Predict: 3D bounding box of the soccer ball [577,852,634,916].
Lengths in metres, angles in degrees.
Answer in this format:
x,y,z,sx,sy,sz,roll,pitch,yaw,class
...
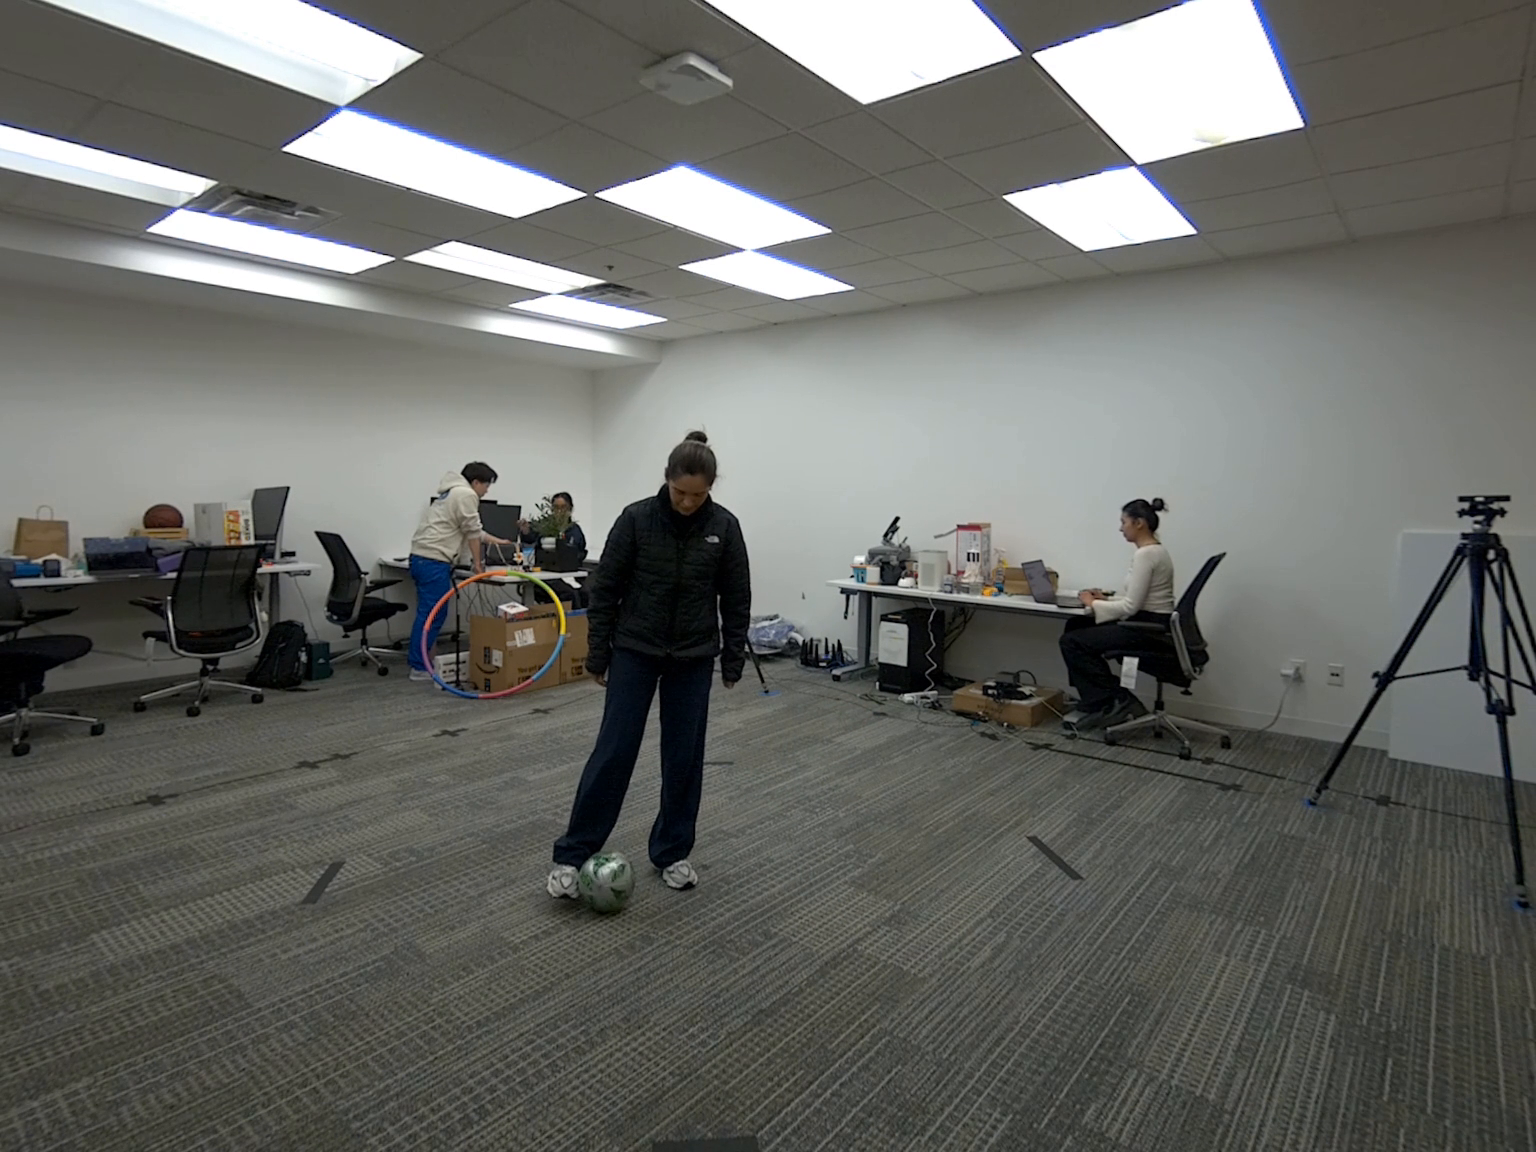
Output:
x,y,z,sx,sy,sz,roll,pitch,yaw,class
-0.538,1.002,2.788,0.187,0.187,0.188,1,4,-2,soccer ball
